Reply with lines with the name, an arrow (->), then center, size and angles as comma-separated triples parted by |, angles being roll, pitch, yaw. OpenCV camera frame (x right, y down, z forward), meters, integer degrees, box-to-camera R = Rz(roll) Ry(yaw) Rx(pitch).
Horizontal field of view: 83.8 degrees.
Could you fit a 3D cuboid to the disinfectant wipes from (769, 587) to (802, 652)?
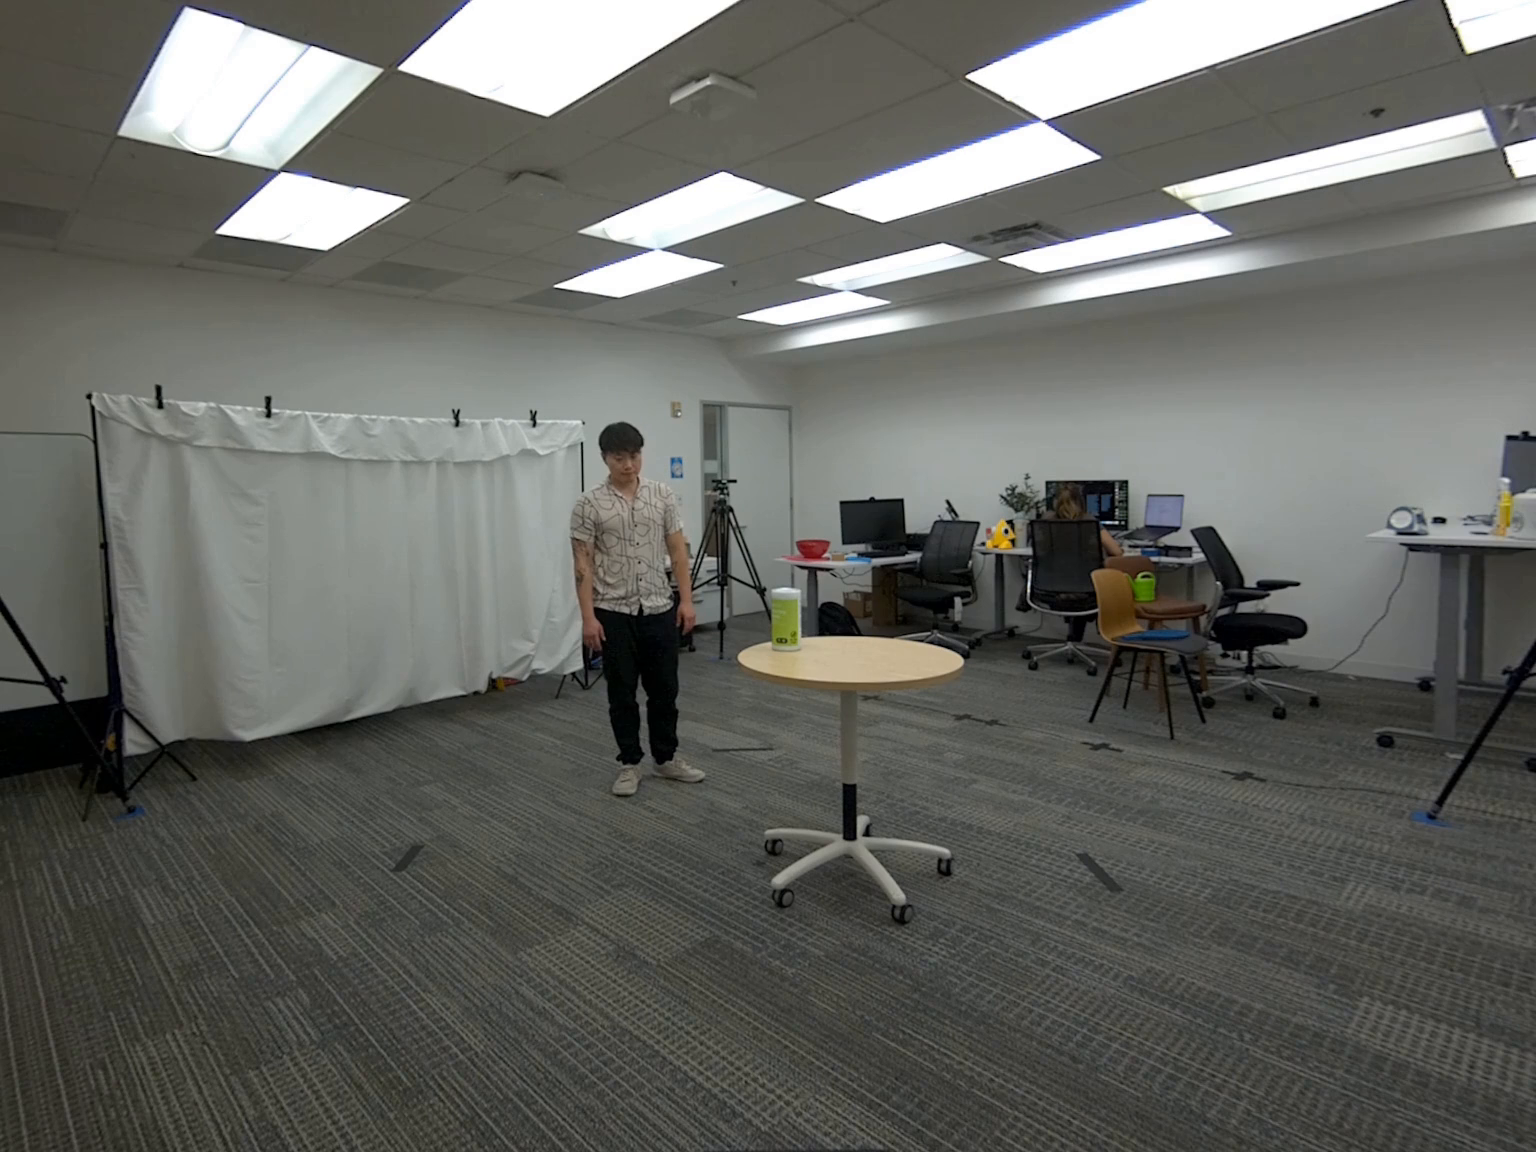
disinfectant wipes -> 0.067, 0.157, 3.085 | 0.118, 0.217, 0.118 | -2, 4, -2
